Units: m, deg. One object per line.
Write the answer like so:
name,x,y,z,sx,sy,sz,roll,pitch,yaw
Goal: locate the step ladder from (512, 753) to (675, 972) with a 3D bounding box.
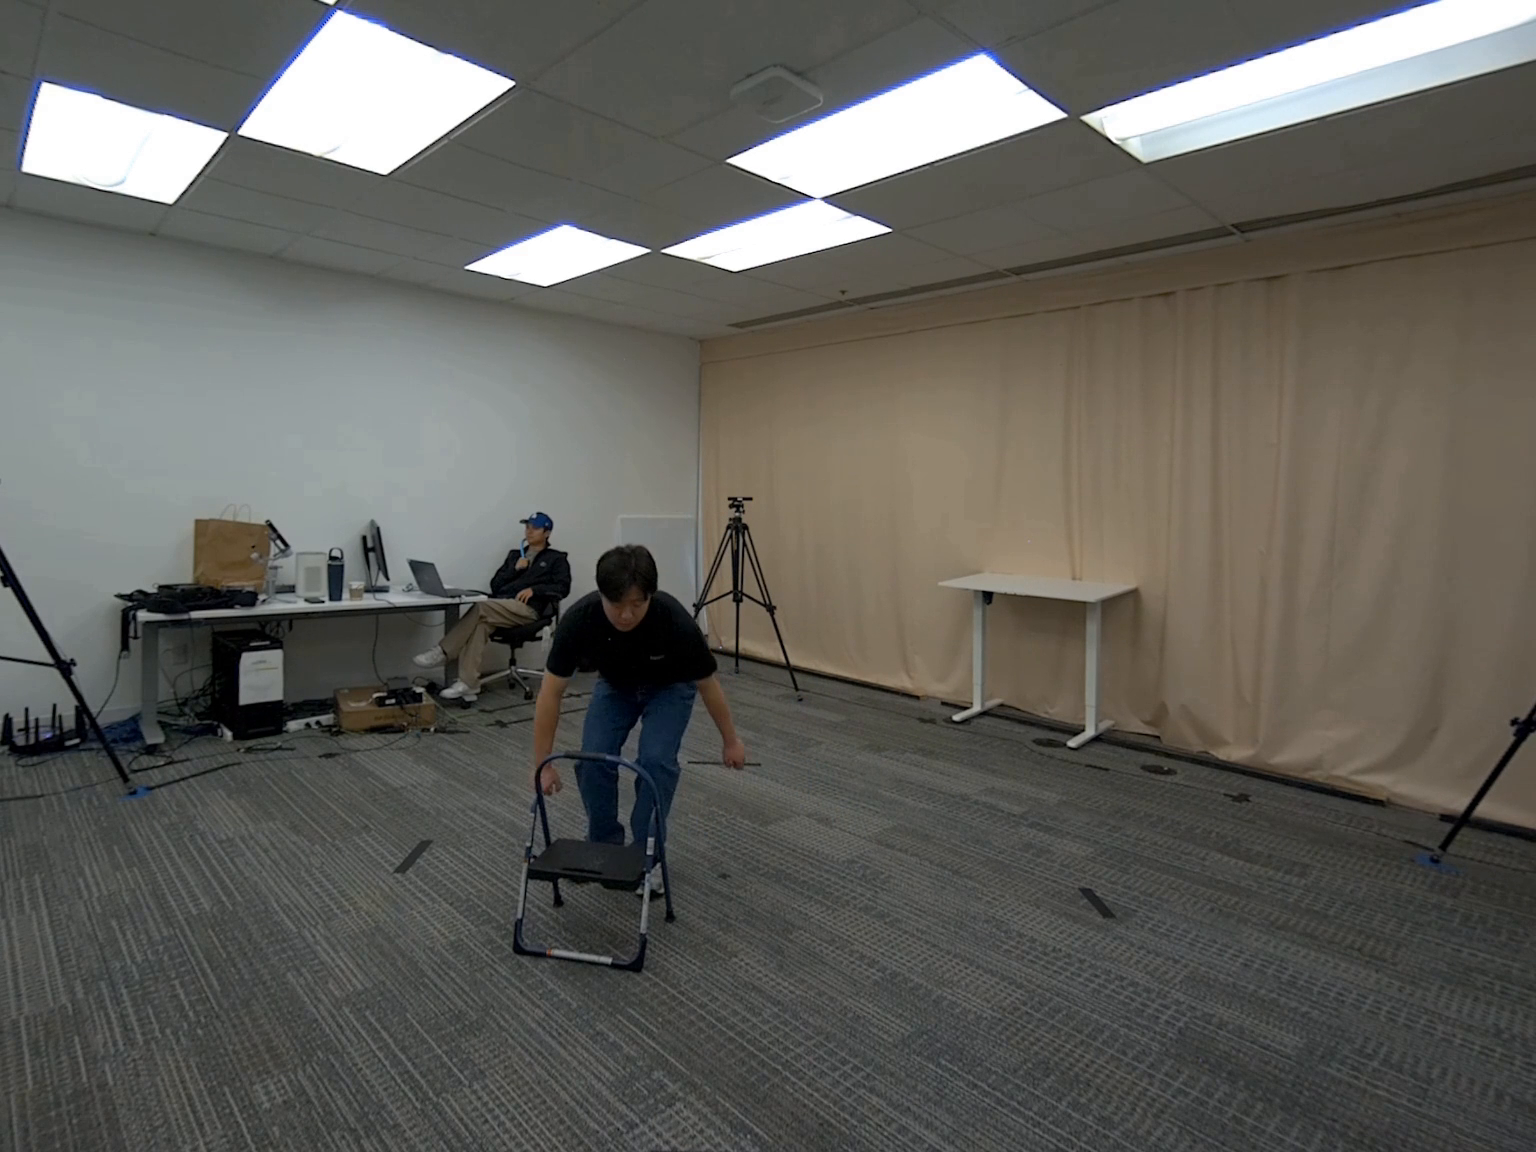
step ladder,-0.544,0.840,2.647,0.435,0.605,0.347,2,3,11
